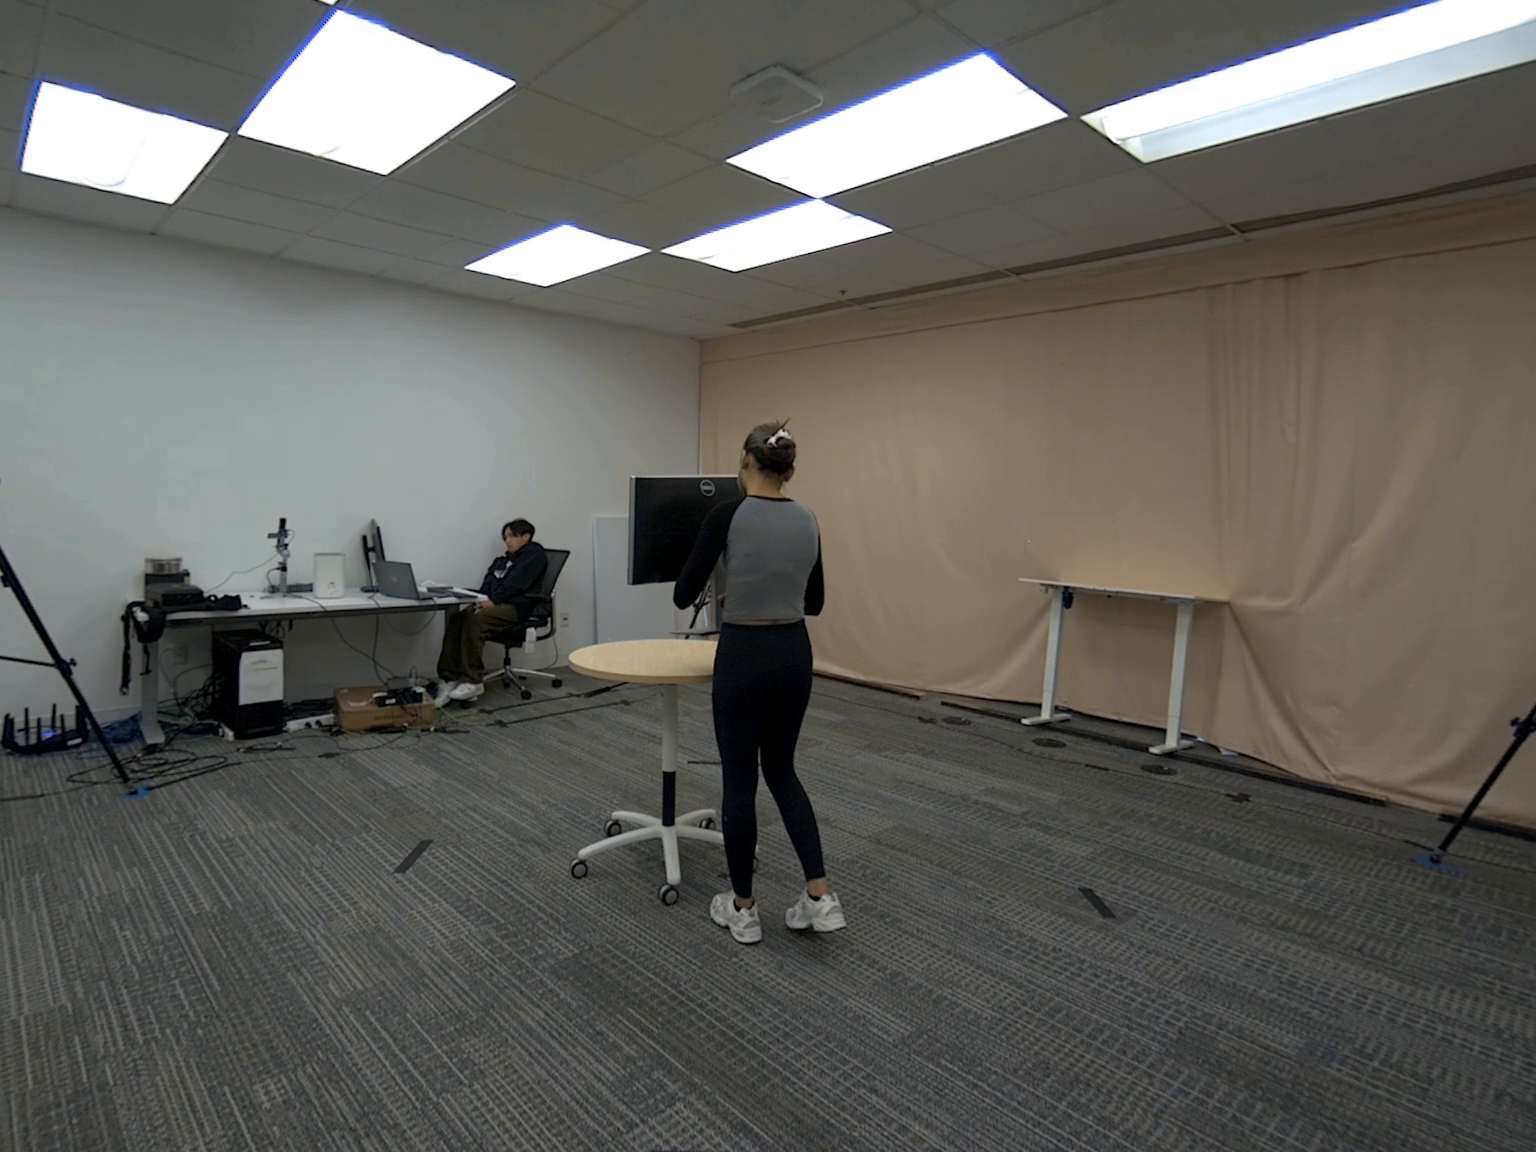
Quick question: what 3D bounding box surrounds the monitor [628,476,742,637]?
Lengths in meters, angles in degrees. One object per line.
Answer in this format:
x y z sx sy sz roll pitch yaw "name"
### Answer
-0.211 -0.076 2.897 0.527 0.523 0.191 -4 -2 -38 "monitor"
